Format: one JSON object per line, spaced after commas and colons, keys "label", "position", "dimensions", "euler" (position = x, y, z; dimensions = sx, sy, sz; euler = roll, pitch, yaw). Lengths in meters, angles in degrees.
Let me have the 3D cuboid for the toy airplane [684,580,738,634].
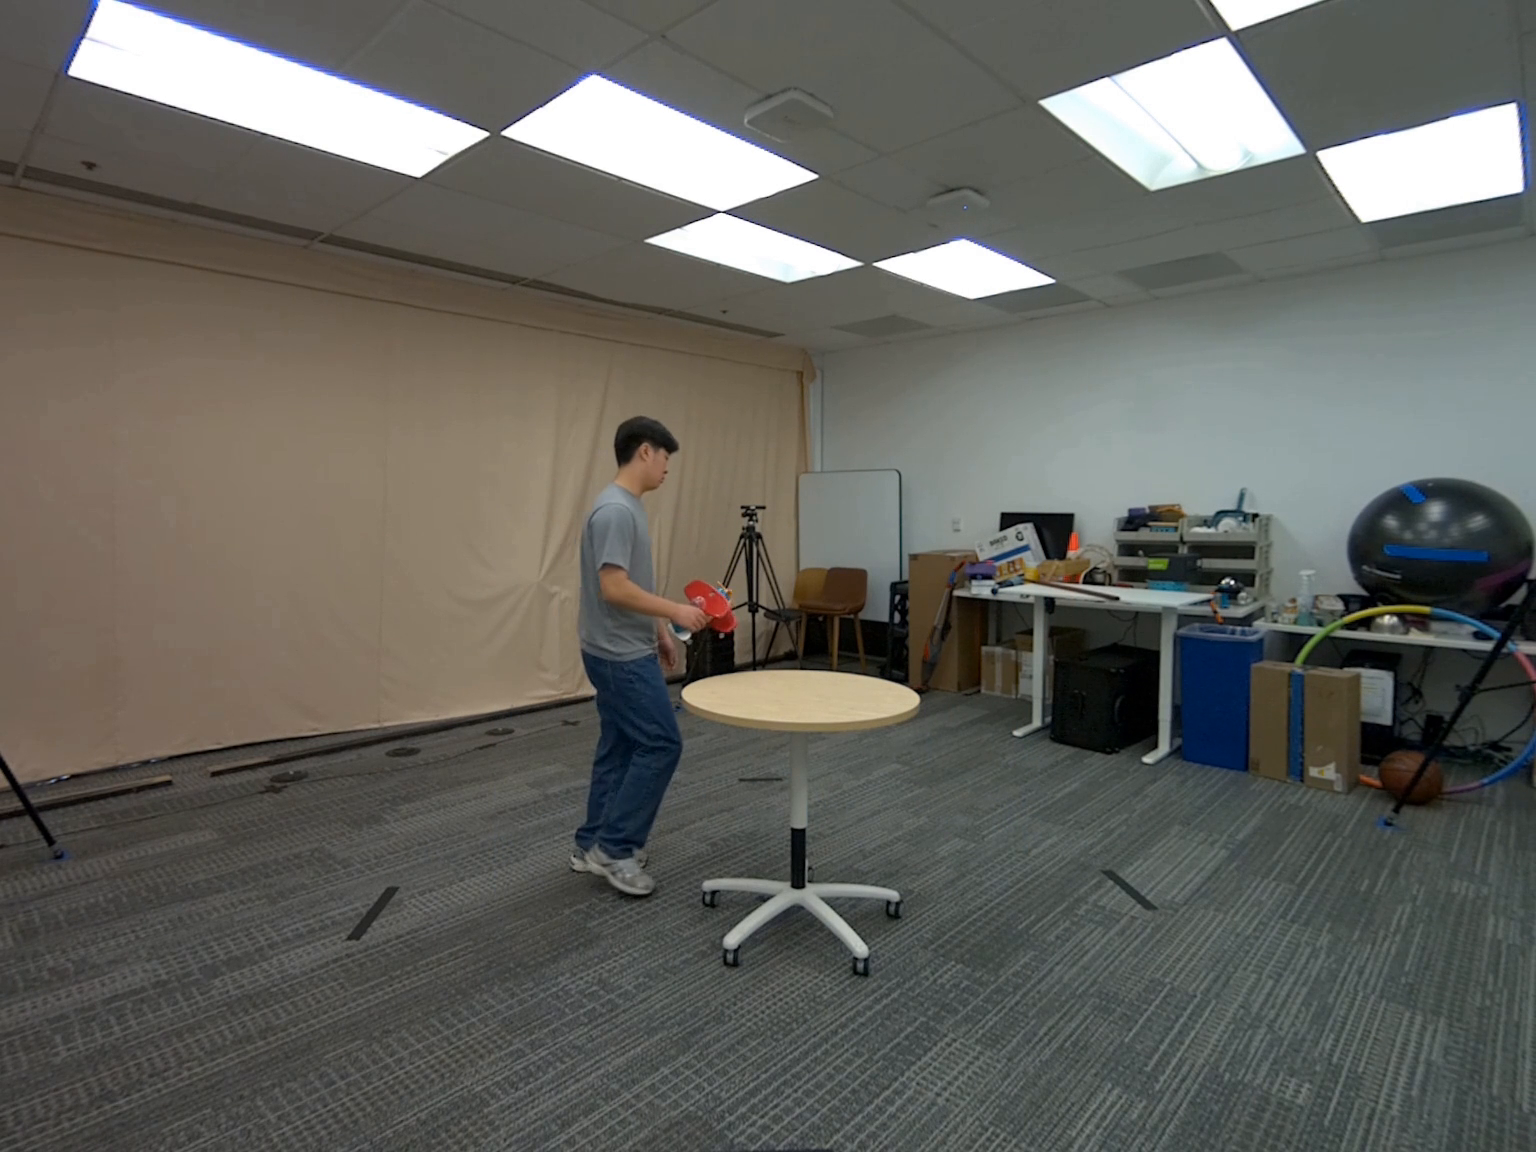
{"label": "toy airplane", "position": [-0.226, 0.165, 3.115], "dimensions": [0.258, 0.153, 0.257], "euler": [10, 36, 26]}
